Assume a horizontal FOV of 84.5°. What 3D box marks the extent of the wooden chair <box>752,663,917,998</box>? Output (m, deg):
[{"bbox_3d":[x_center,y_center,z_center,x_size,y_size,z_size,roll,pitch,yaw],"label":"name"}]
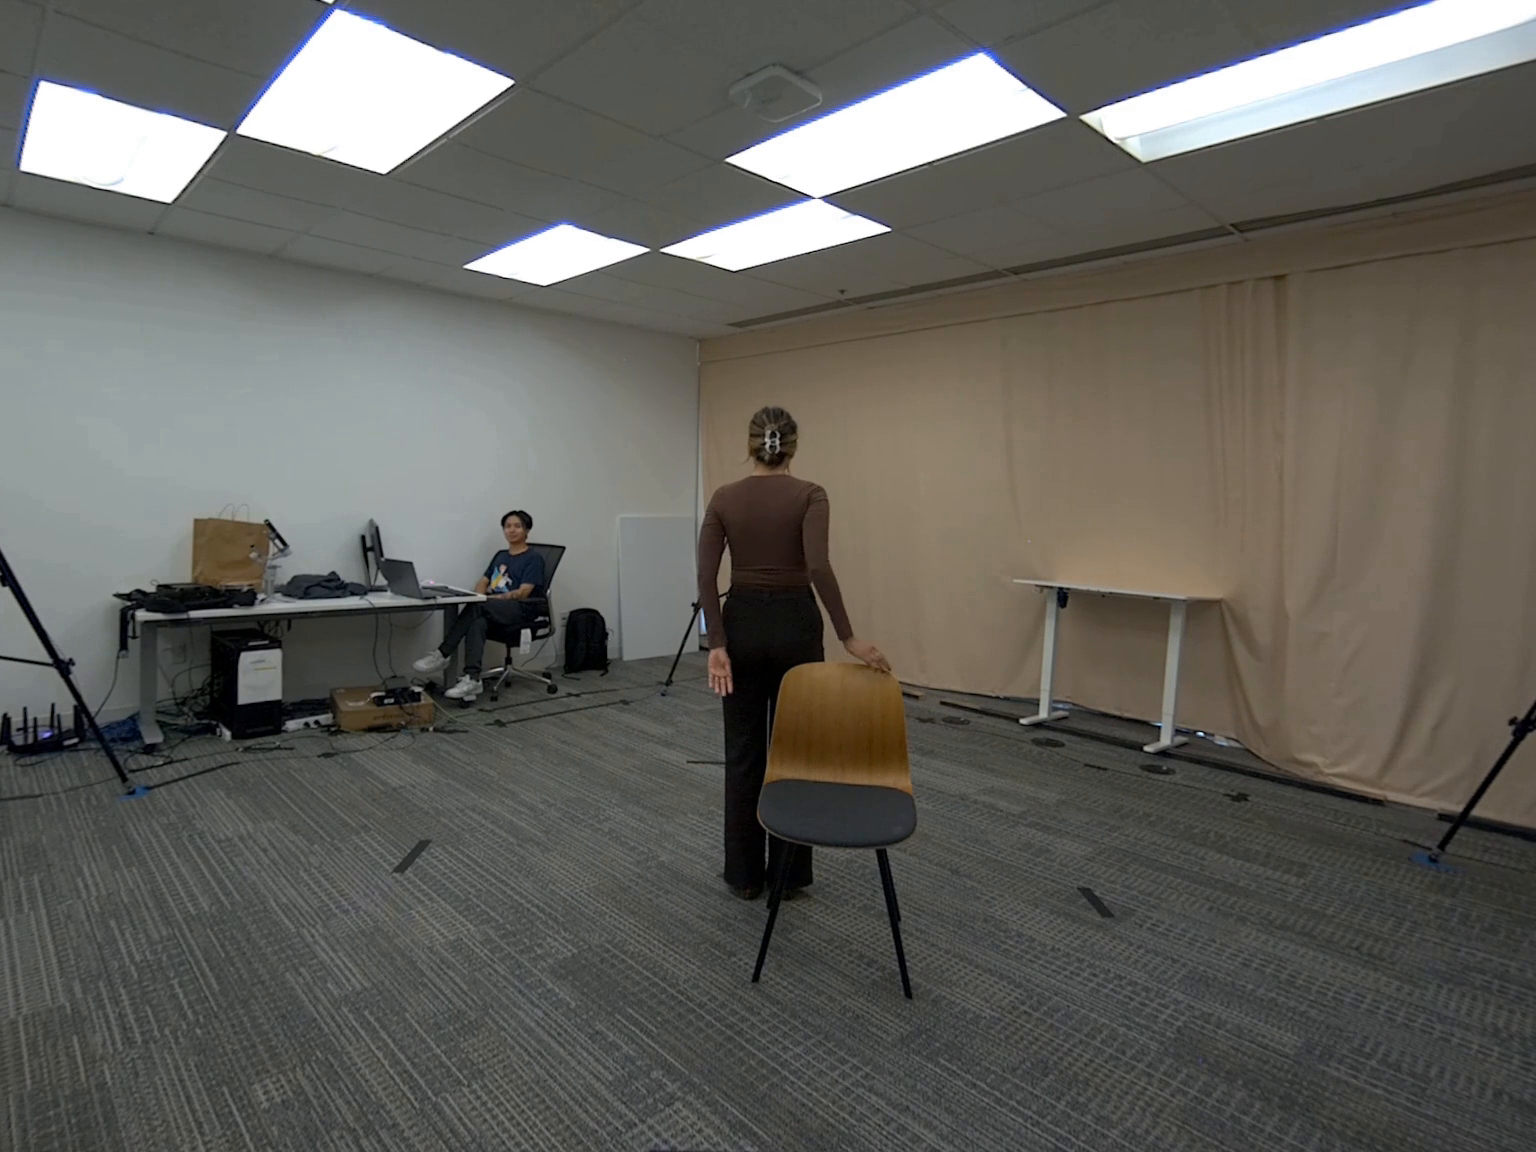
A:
[{"bbox_3d":[0.205,0.739,2.571,0.481,0.877,0.520,2,0,6],"label":"wooden chair"}]
